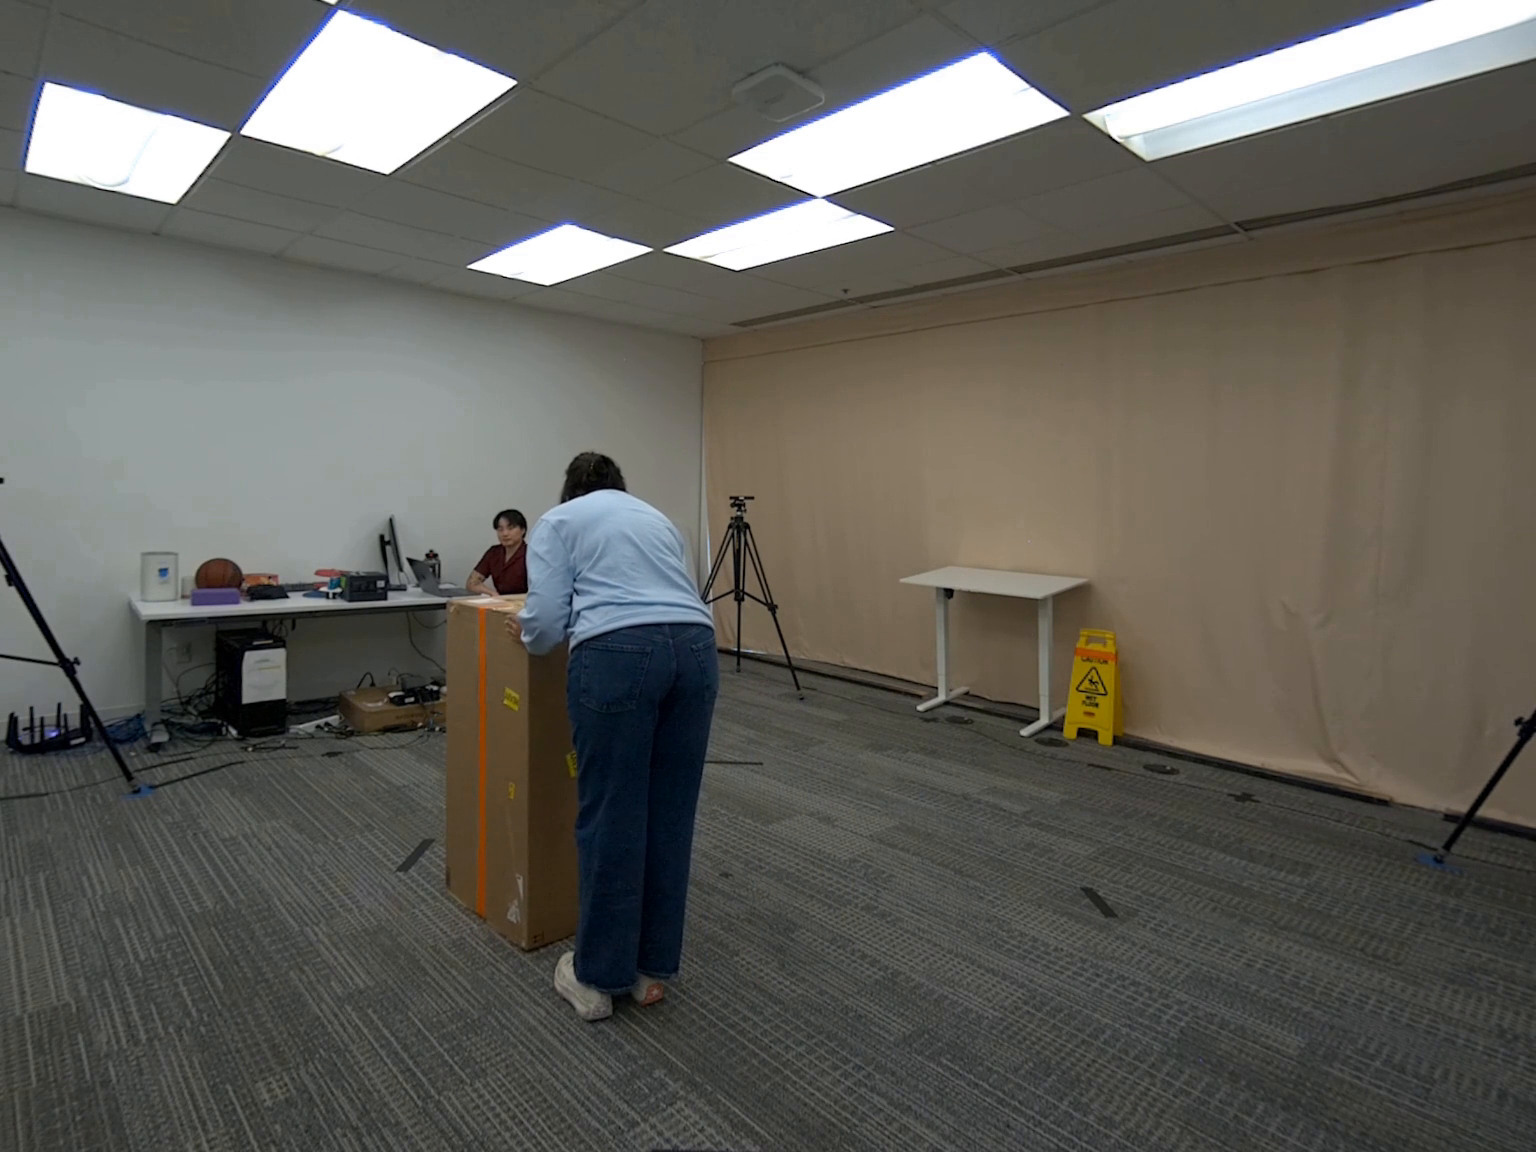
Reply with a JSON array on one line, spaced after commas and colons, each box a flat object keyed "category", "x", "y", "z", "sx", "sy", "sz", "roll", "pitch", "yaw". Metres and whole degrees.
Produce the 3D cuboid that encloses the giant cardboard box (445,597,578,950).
[{"category": "giant cardboard box", "x": -0.788, "y": 0.606, "z": 2.874, "sx": 0.416, "sy": 1.024, "sz": 0.592, "roll": -1, "pitch": 3, "yaw": -44}]
